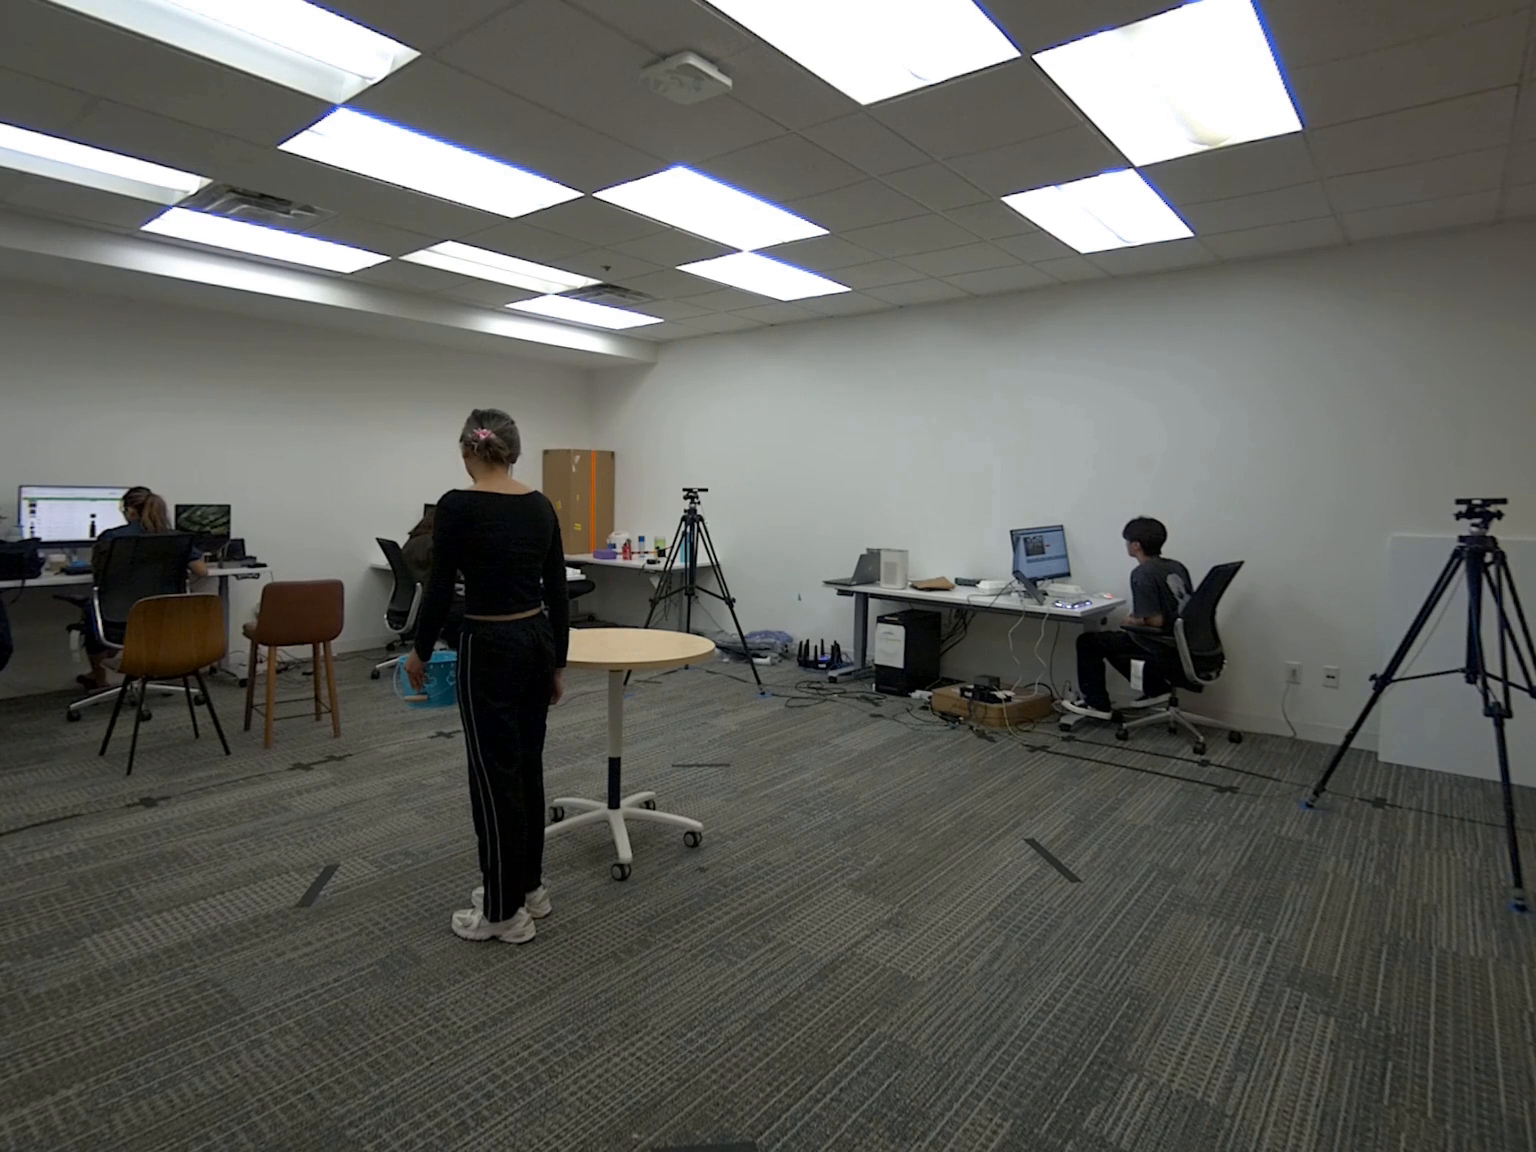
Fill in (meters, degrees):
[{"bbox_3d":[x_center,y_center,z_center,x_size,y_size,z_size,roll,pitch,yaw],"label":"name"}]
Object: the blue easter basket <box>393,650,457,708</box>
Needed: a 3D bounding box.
[{"bbox_3d":[-1.119,0.341,2.804,0.243,0.155,0.244,-1,3,-2],"label":"blue easter basket"}]
